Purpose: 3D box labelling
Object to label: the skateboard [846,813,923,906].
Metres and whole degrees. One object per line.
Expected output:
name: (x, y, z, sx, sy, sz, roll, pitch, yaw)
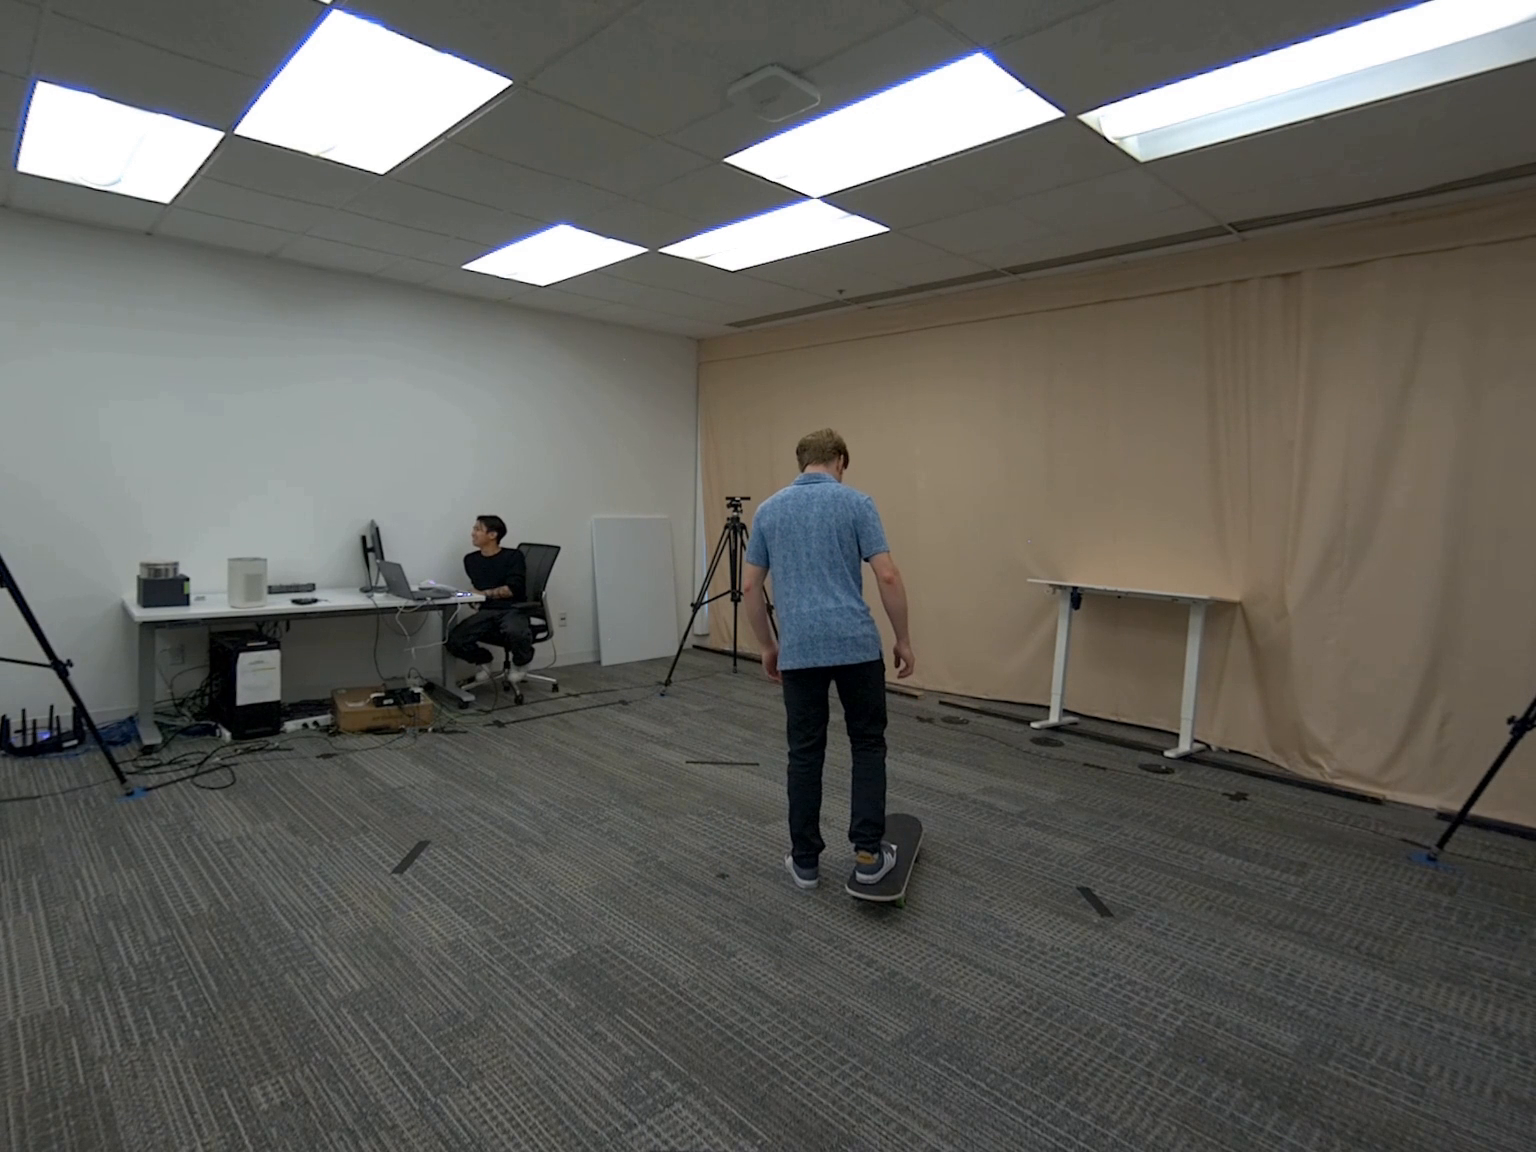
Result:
skateboard: (0.439, 1.061, 3.114, 0.196, 0.110, 0.777, 0, 5, 15)
